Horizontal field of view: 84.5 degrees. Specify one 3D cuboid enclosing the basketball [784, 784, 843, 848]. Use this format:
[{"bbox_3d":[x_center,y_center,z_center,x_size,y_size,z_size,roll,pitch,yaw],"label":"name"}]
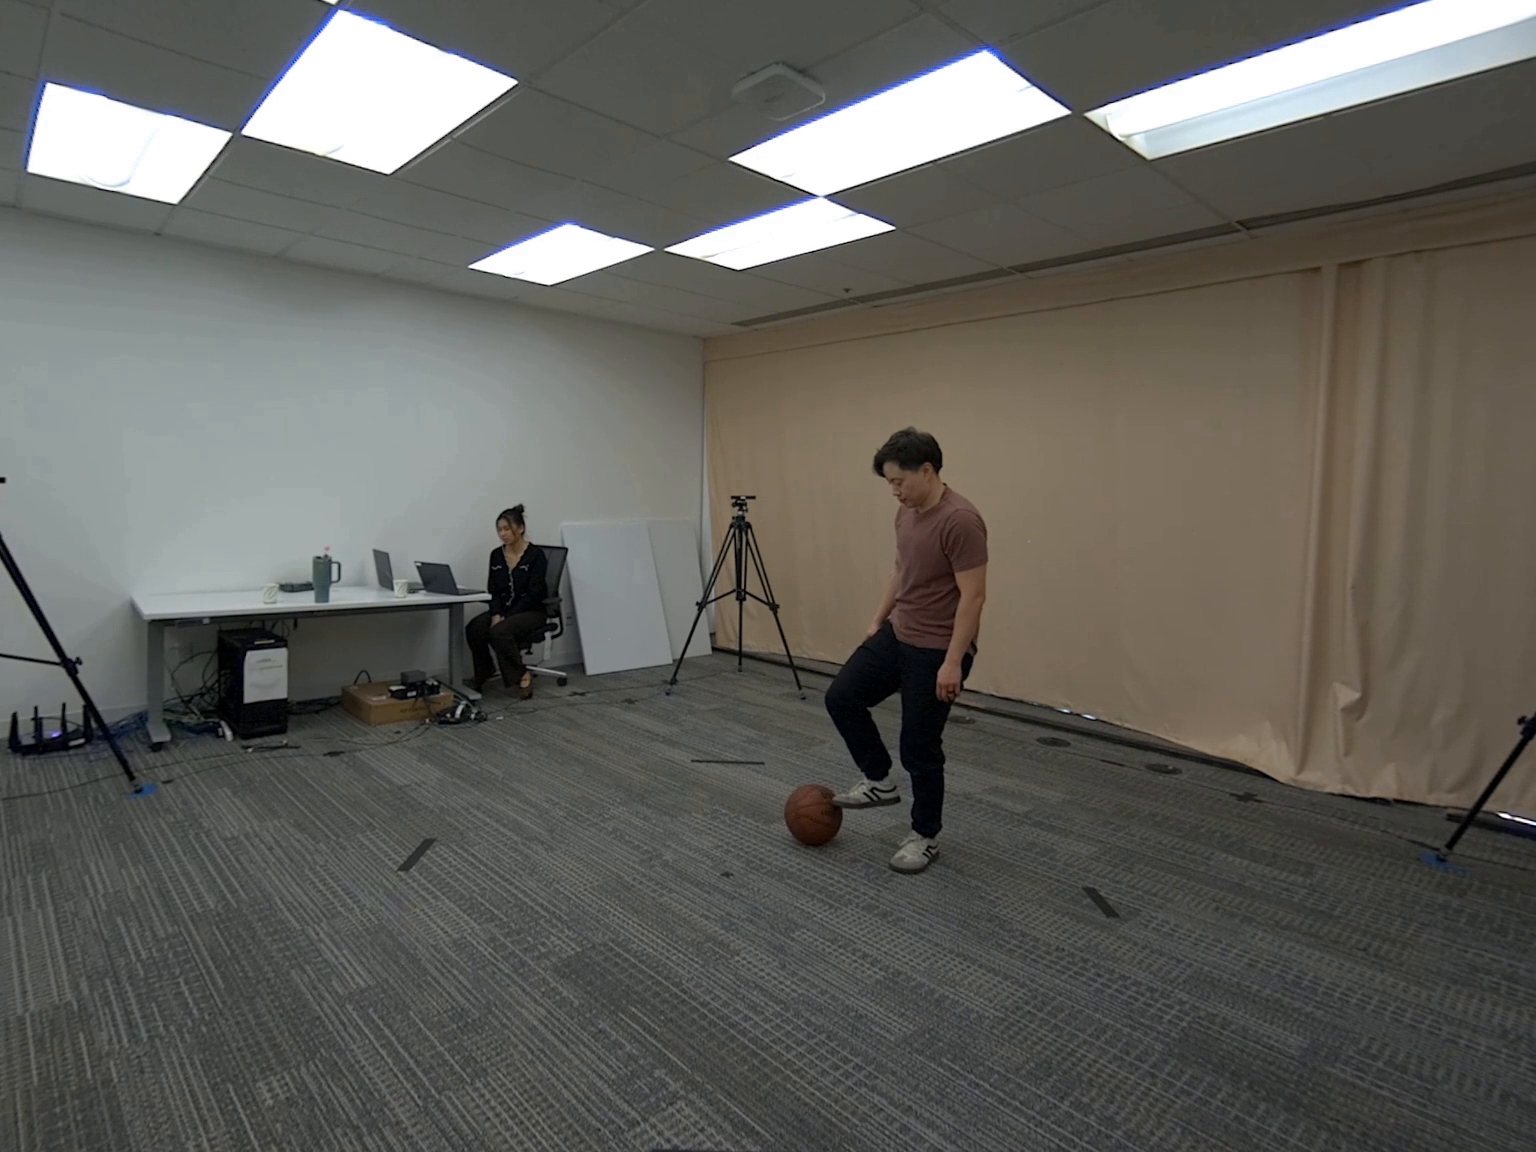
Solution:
[{"bbox_3d":[0.171,0.959,3.416,0.236,0.235,0.237,1,4,-1],"label":"basketball"}]
